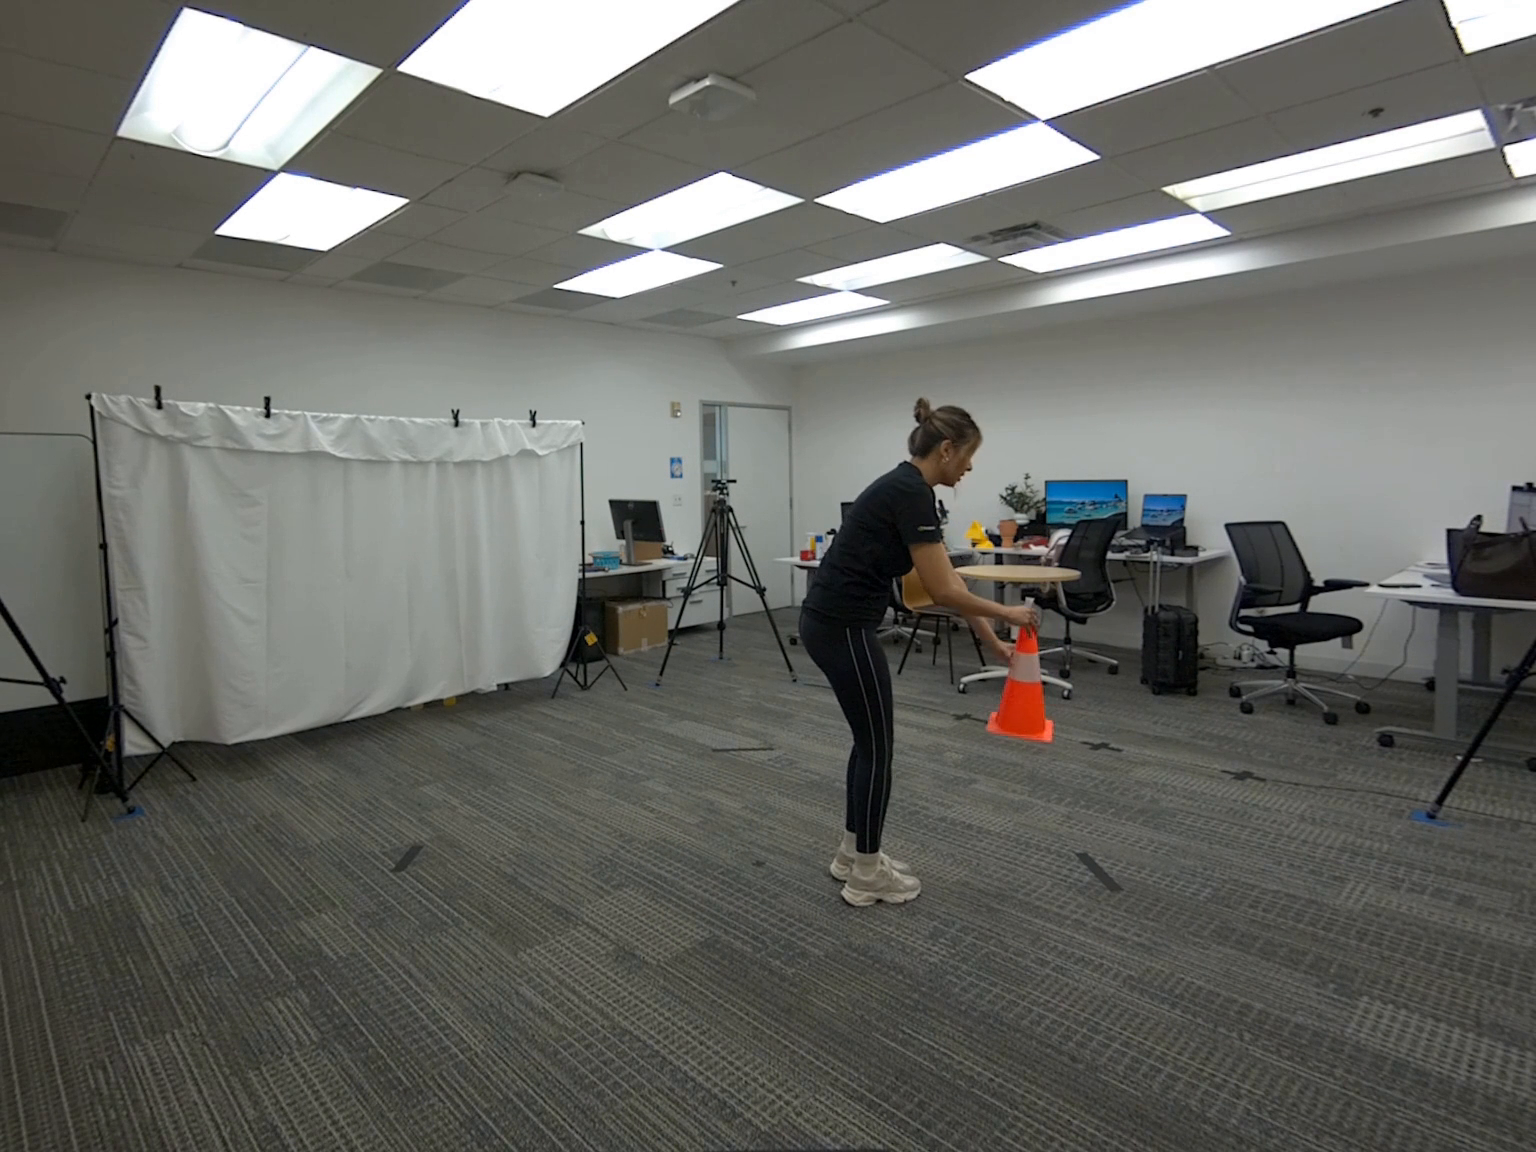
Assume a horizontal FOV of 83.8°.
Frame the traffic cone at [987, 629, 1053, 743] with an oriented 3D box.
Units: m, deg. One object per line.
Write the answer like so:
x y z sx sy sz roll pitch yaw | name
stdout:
0.826 0.307 2.757 0.208 0.380 0.202 3 10 22 | traffic cone
